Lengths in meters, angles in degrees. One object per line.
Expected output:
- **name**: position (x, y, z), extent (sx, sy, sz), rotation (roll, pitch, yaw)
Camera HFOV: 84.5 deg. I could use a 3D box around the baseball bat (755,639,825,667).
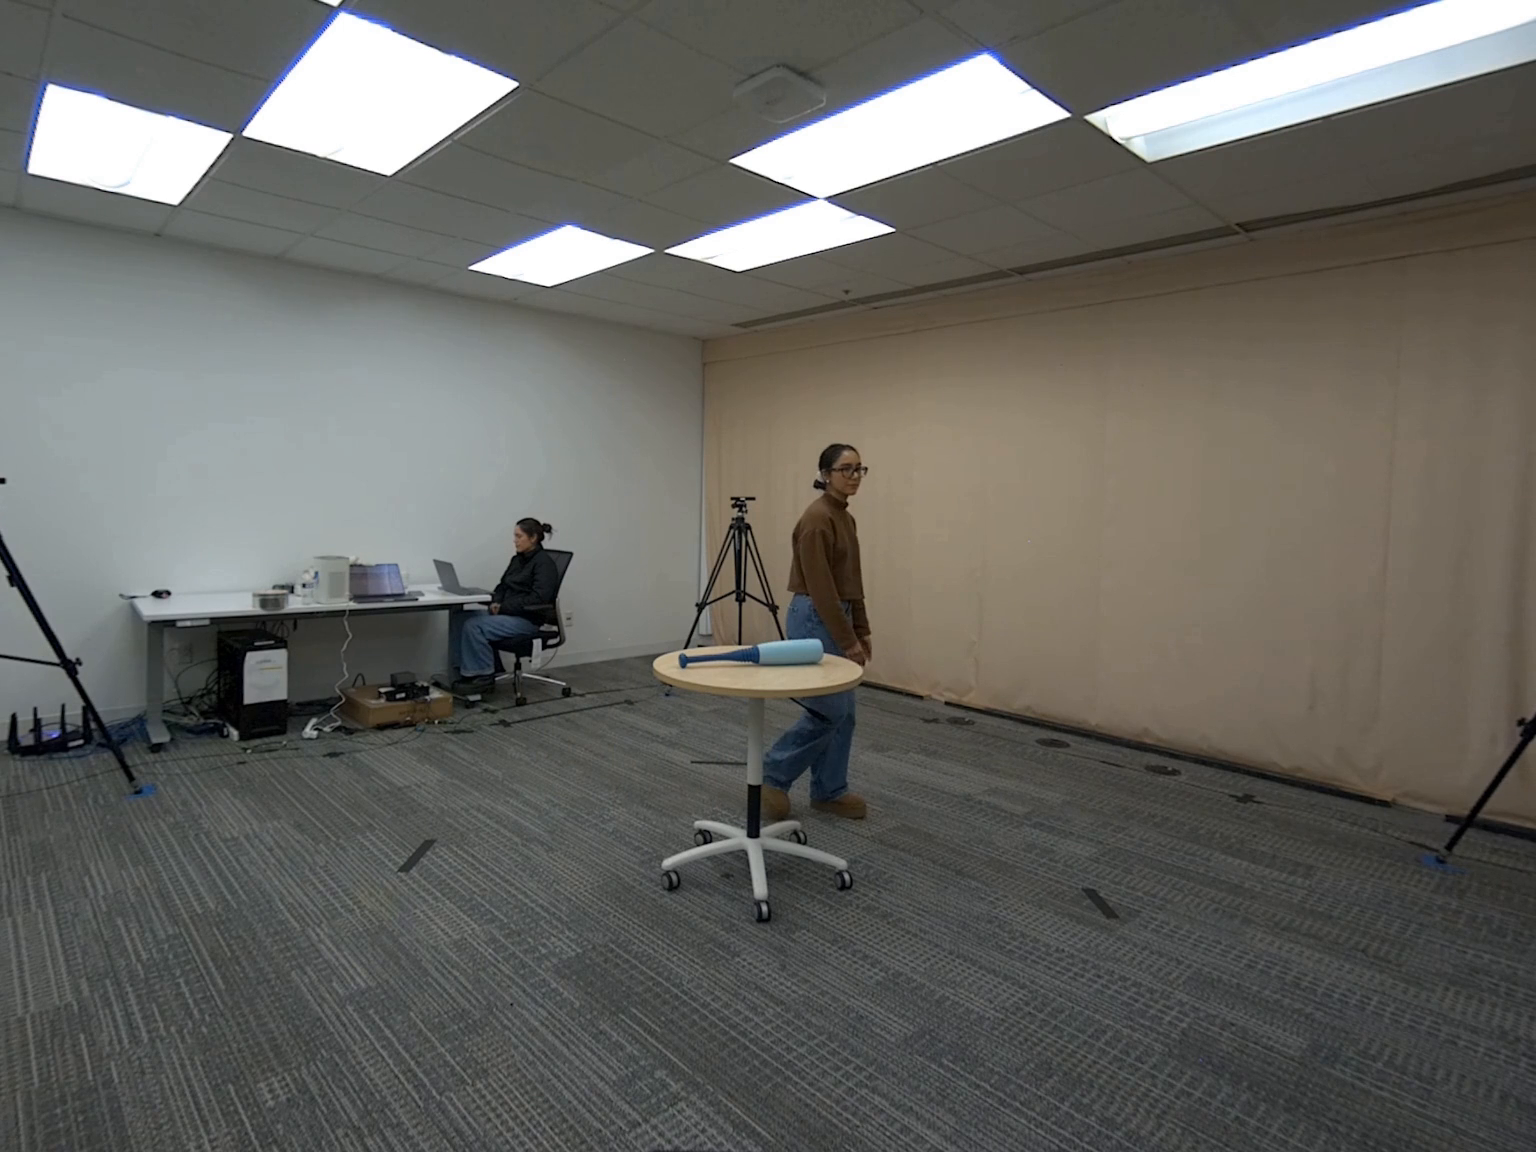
- **baseball bat**: position (-0.062, 0.294, 3.072), extent (0.536, 0.089, 0.090), rotation (-4, 6, -18)
